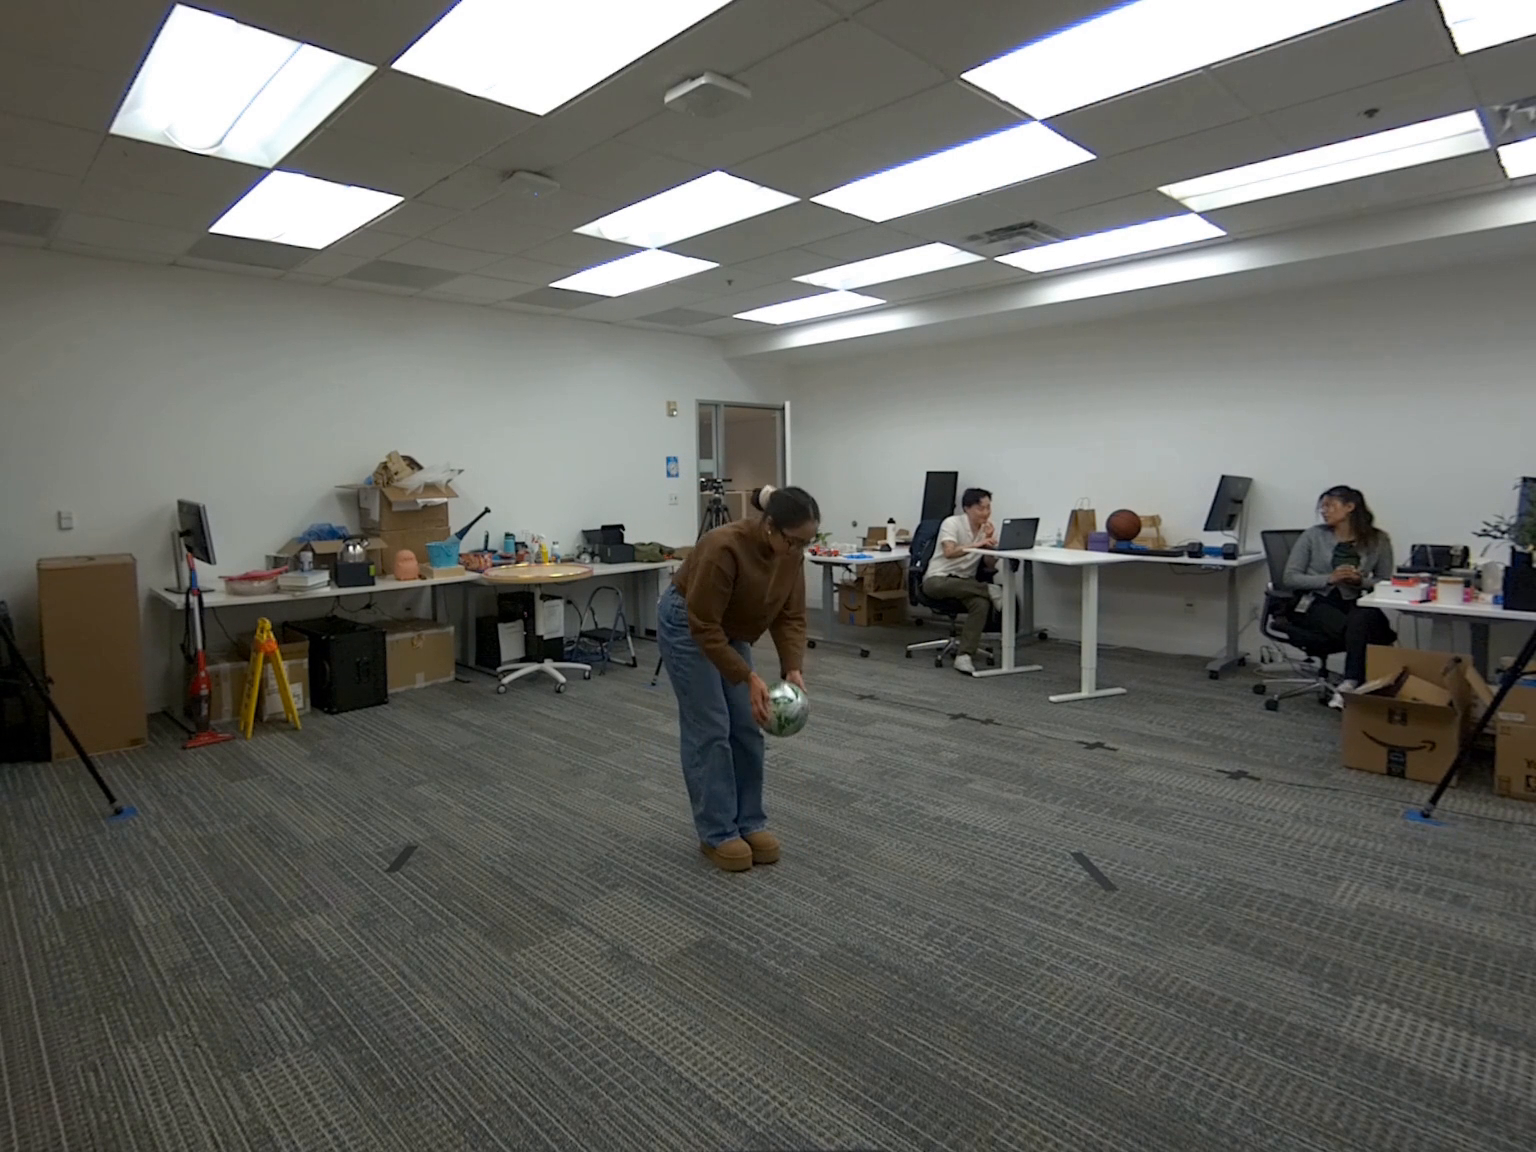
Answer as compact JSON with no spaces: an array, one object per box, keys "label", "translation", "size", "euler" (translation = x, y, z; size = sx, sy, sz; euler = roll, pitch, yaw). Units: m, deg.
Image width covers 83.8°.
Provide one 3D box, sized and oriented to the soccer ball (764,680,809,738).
[{"label":"soccer ball","translation":[0.045,0.453,2.912],"size":[0.187,0.187,0.188],"euler":[-1,5,-2]}]
